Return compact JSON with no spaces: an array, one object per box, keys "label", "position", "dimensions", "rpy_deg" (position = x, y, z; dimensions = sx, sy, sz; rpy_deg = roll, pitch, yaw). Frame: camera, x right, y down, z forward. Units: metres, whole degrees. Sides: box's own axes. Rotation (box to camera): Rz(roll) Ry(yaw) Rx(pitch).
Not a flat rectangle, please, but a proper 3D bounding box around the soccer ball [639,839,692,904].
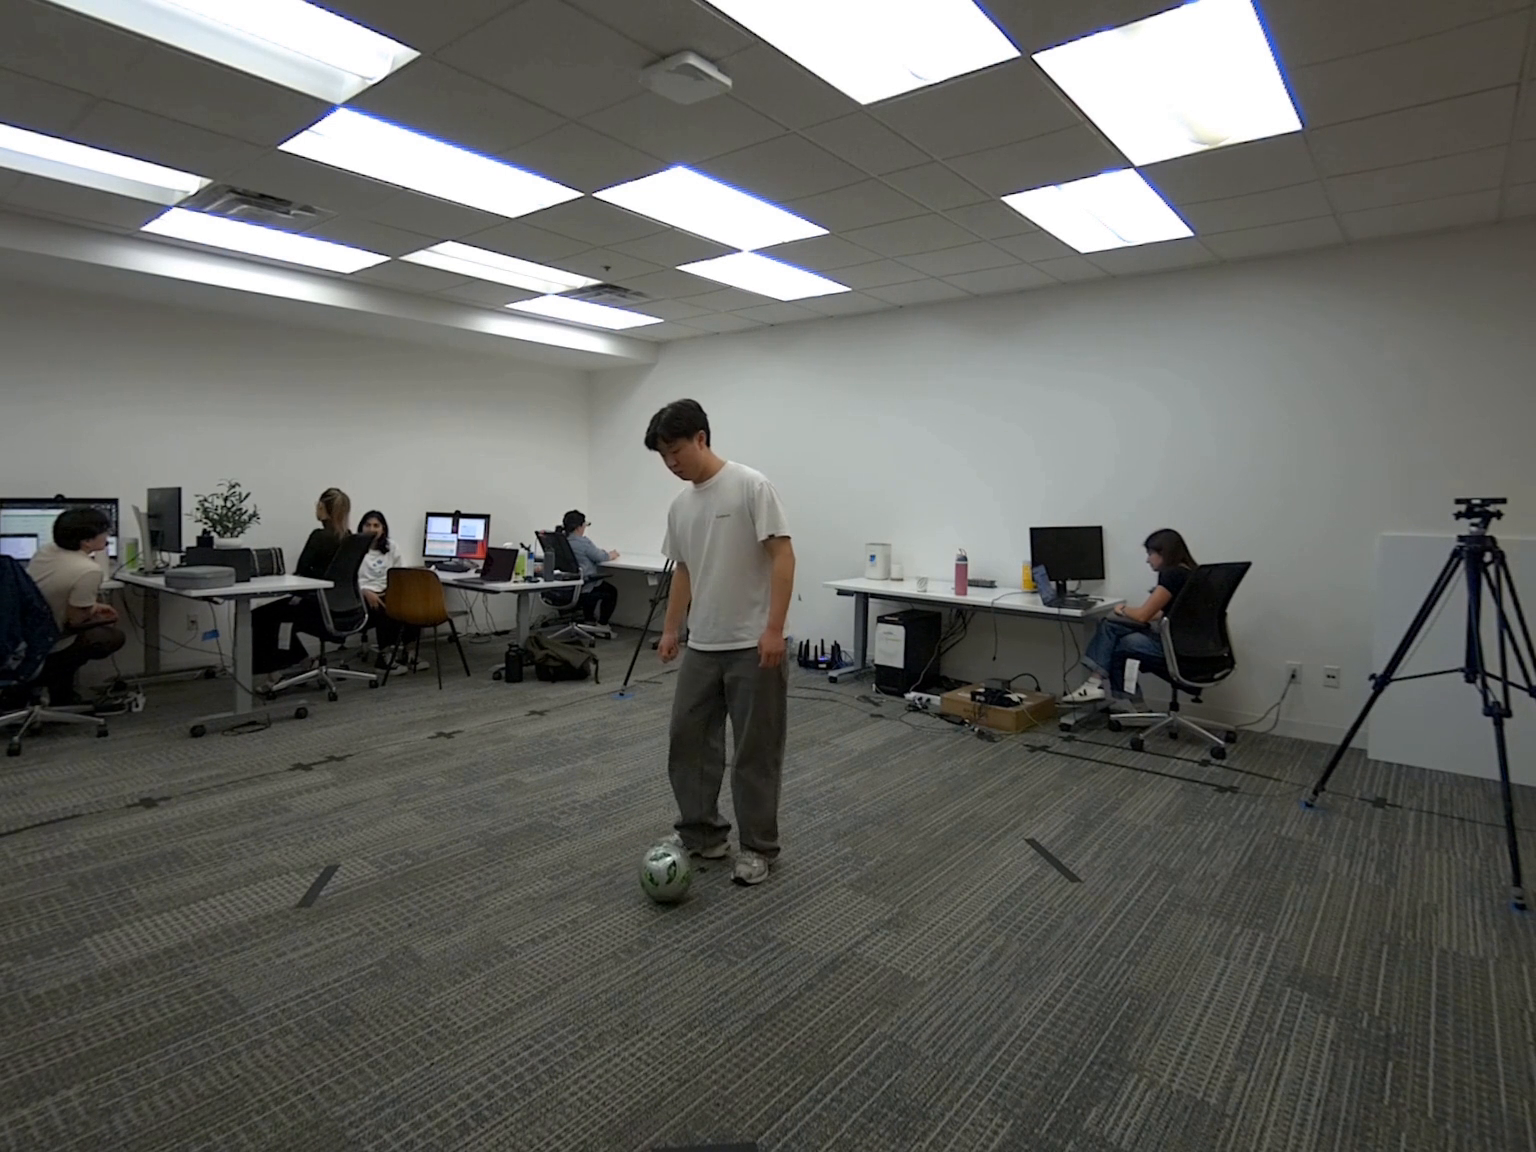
[{"label":"soccer ball","position":[-0.341,0.995,2.870],"dimensions":[0.187,0.187,0.188],"rpy_deg":[1,4,-2]}]
